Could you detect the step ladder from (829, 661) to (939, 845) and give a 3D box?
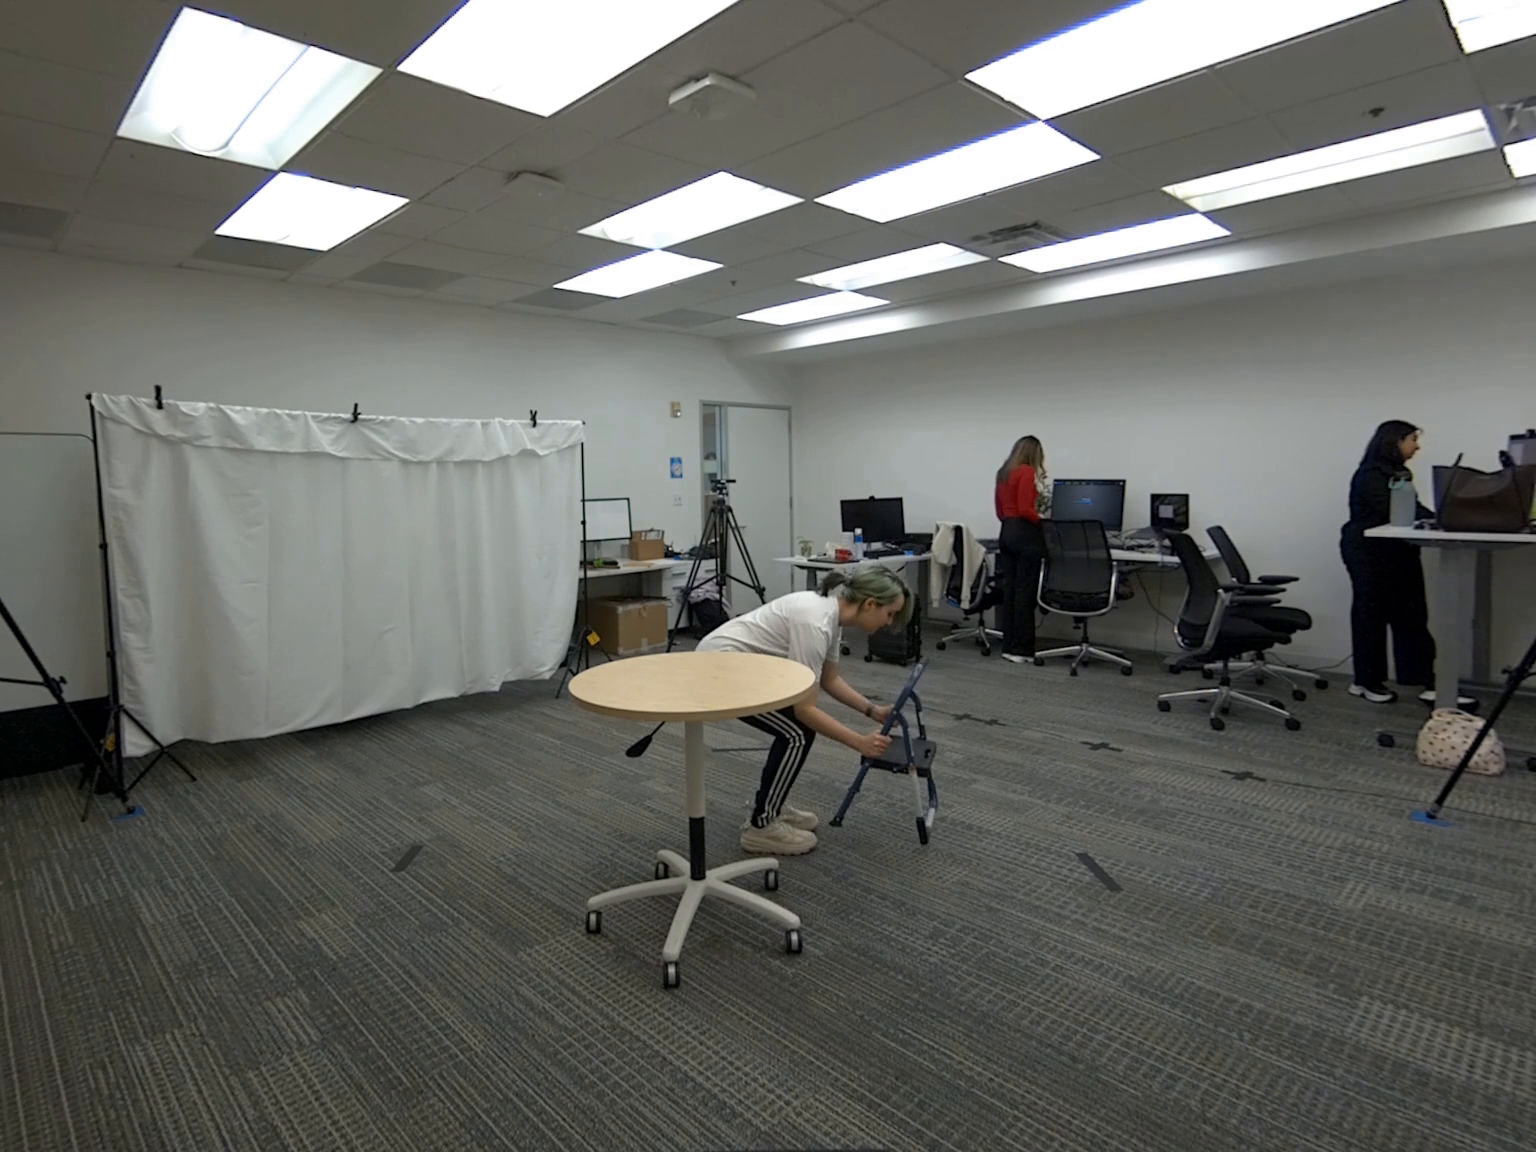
[{"bbox_3d":[0.471,0.597,3.180,0.356,0.604,0.424,6,4,17],"label":"step ladder"}]
